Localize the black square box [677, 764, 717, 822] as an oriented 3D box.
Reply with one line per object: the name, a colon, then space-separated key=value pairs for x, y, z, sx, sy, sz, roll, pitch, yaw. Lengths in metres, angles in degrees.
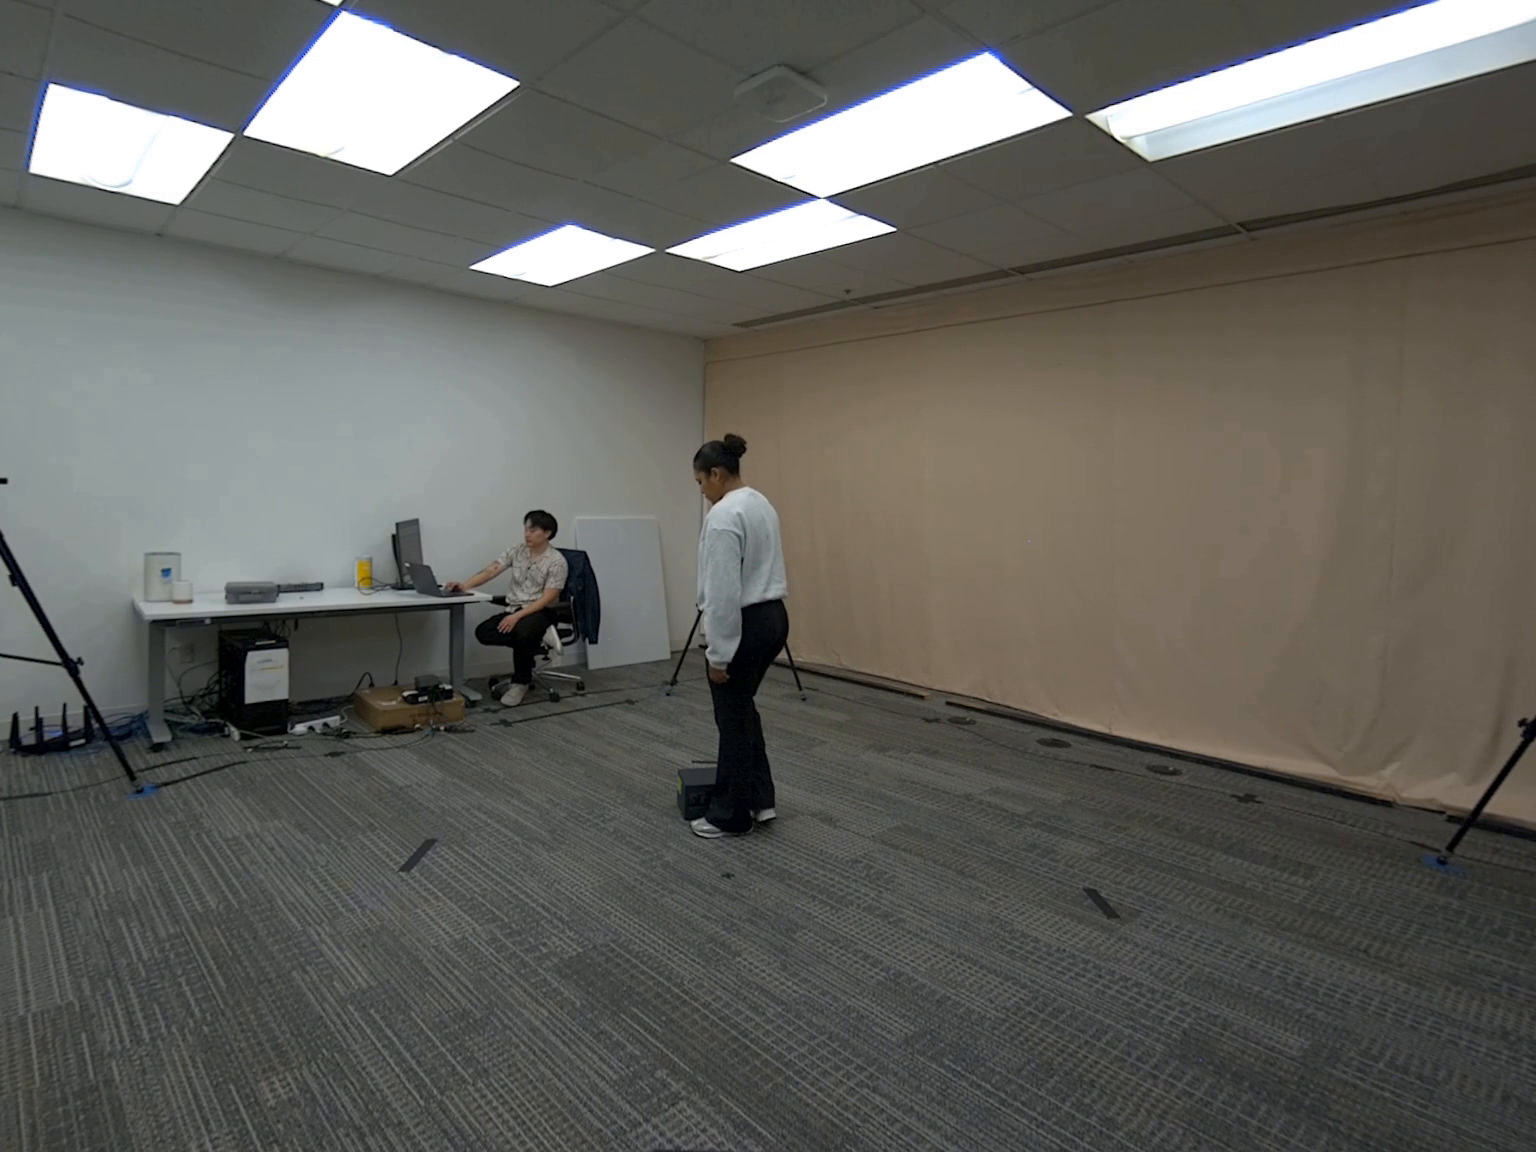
black square box: x=-0.293 y=0.955 z=3.746 sx=0.214 sy=0.155 sz=0.231 roll=0 pitch=5 yaw=-14
